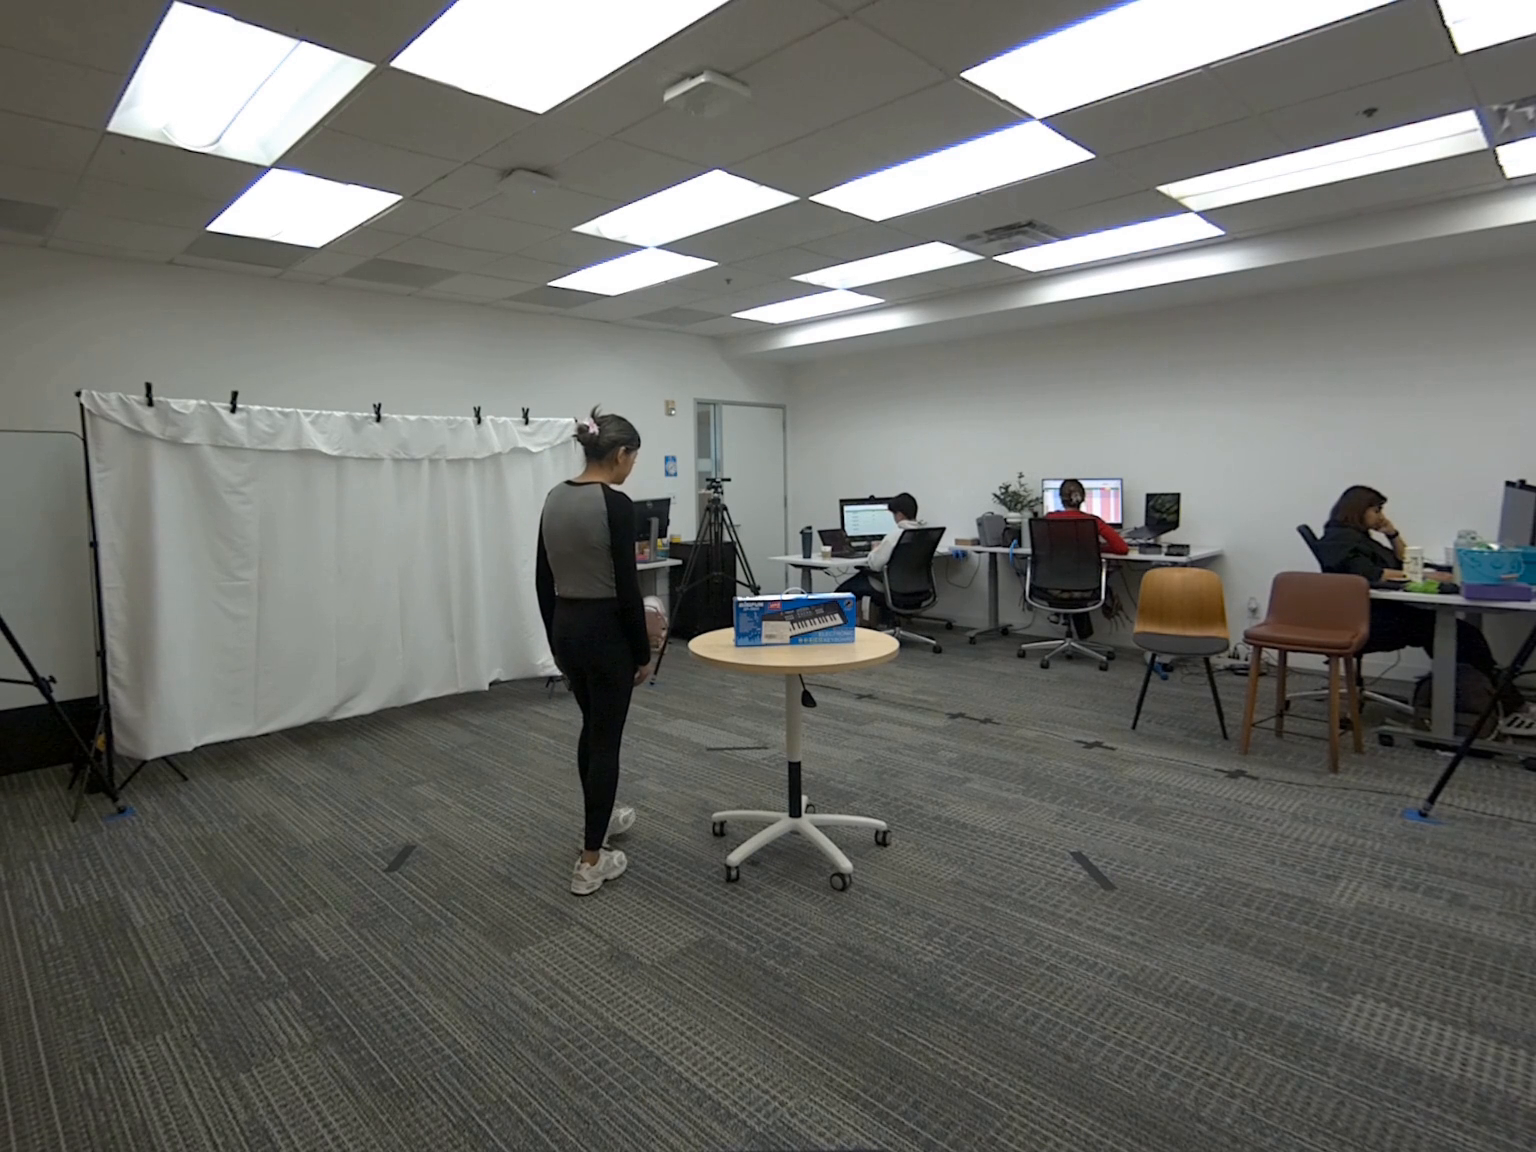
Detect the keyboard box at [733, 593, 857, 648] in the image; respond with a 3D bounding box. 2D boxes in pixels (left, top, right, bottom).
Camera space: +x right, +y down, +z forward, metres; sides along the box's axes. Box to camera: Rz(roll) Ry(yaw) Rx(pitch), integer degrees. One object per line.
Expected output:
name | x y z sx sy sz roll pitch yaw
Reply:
keyboard box | 0.095 0.158 3.098 0.435 0.175 0.060 -2 8 -4
